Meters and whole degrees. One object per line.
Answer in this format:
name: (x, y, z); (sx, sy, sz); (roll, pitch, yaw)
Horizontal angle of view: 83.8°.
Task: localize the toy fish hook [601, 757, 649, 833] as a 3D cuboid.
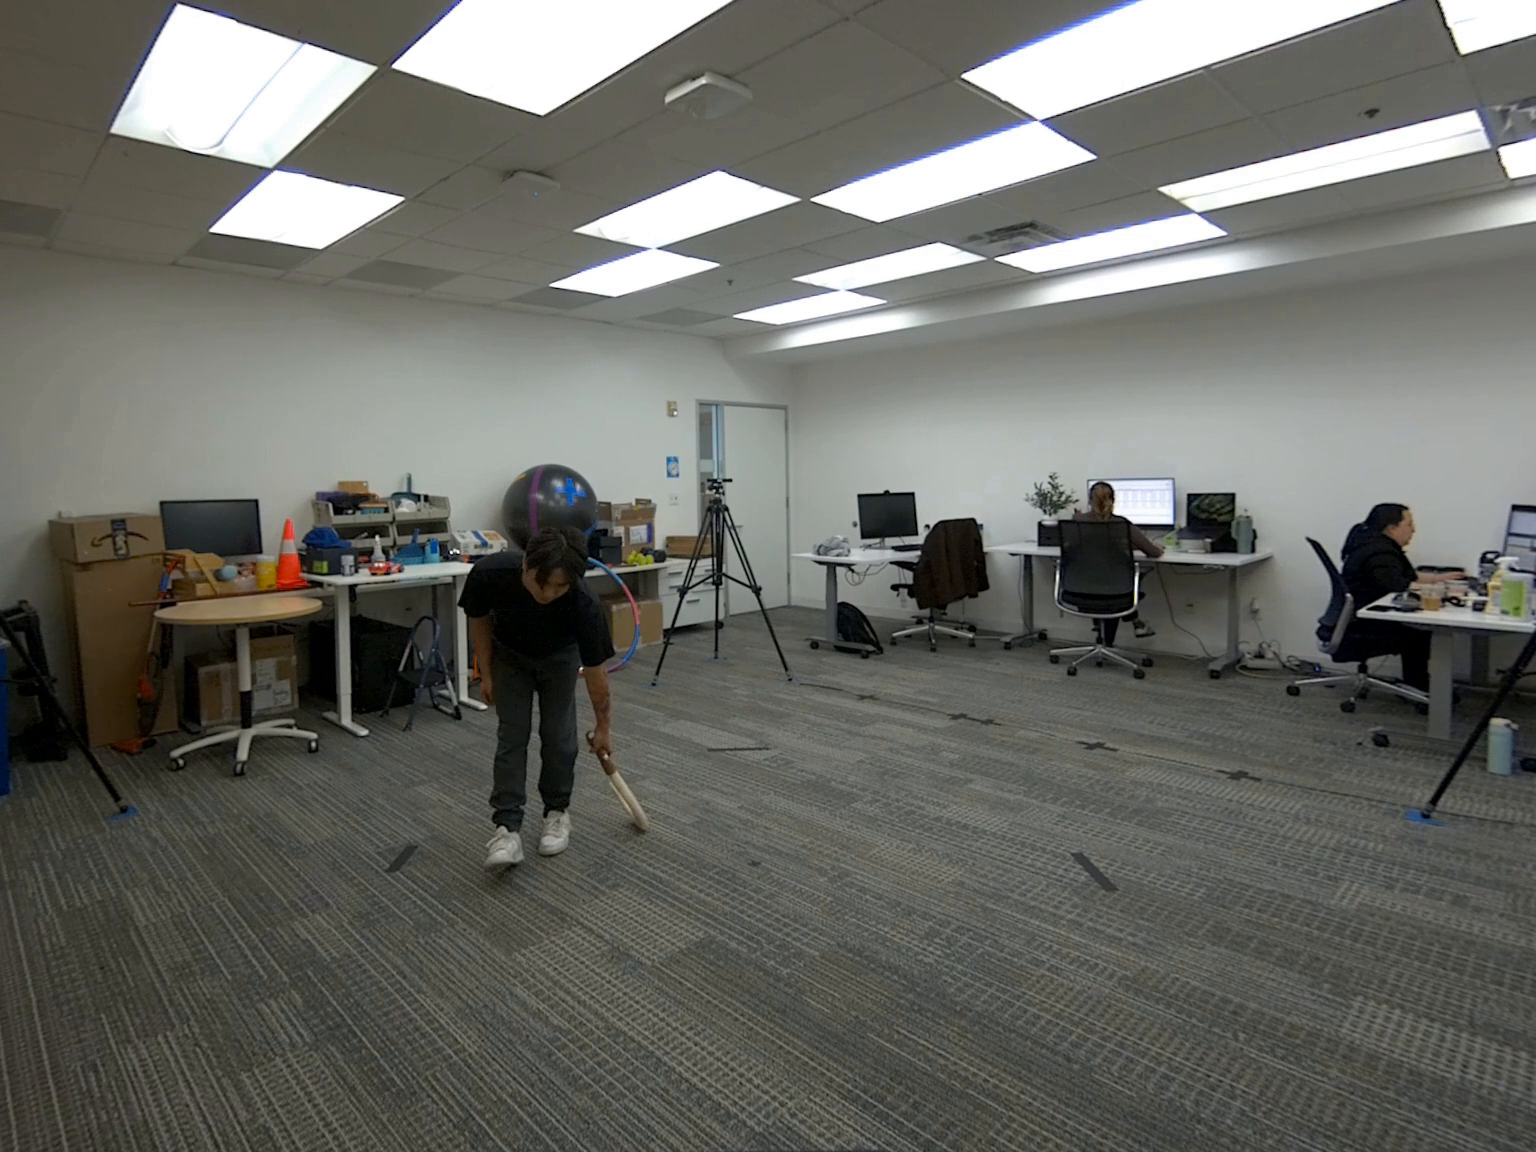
toy fish hook: (-0.613, 0.801, 3.379); (0.048, 0.495, 0.231); (-35, 22, -30)
